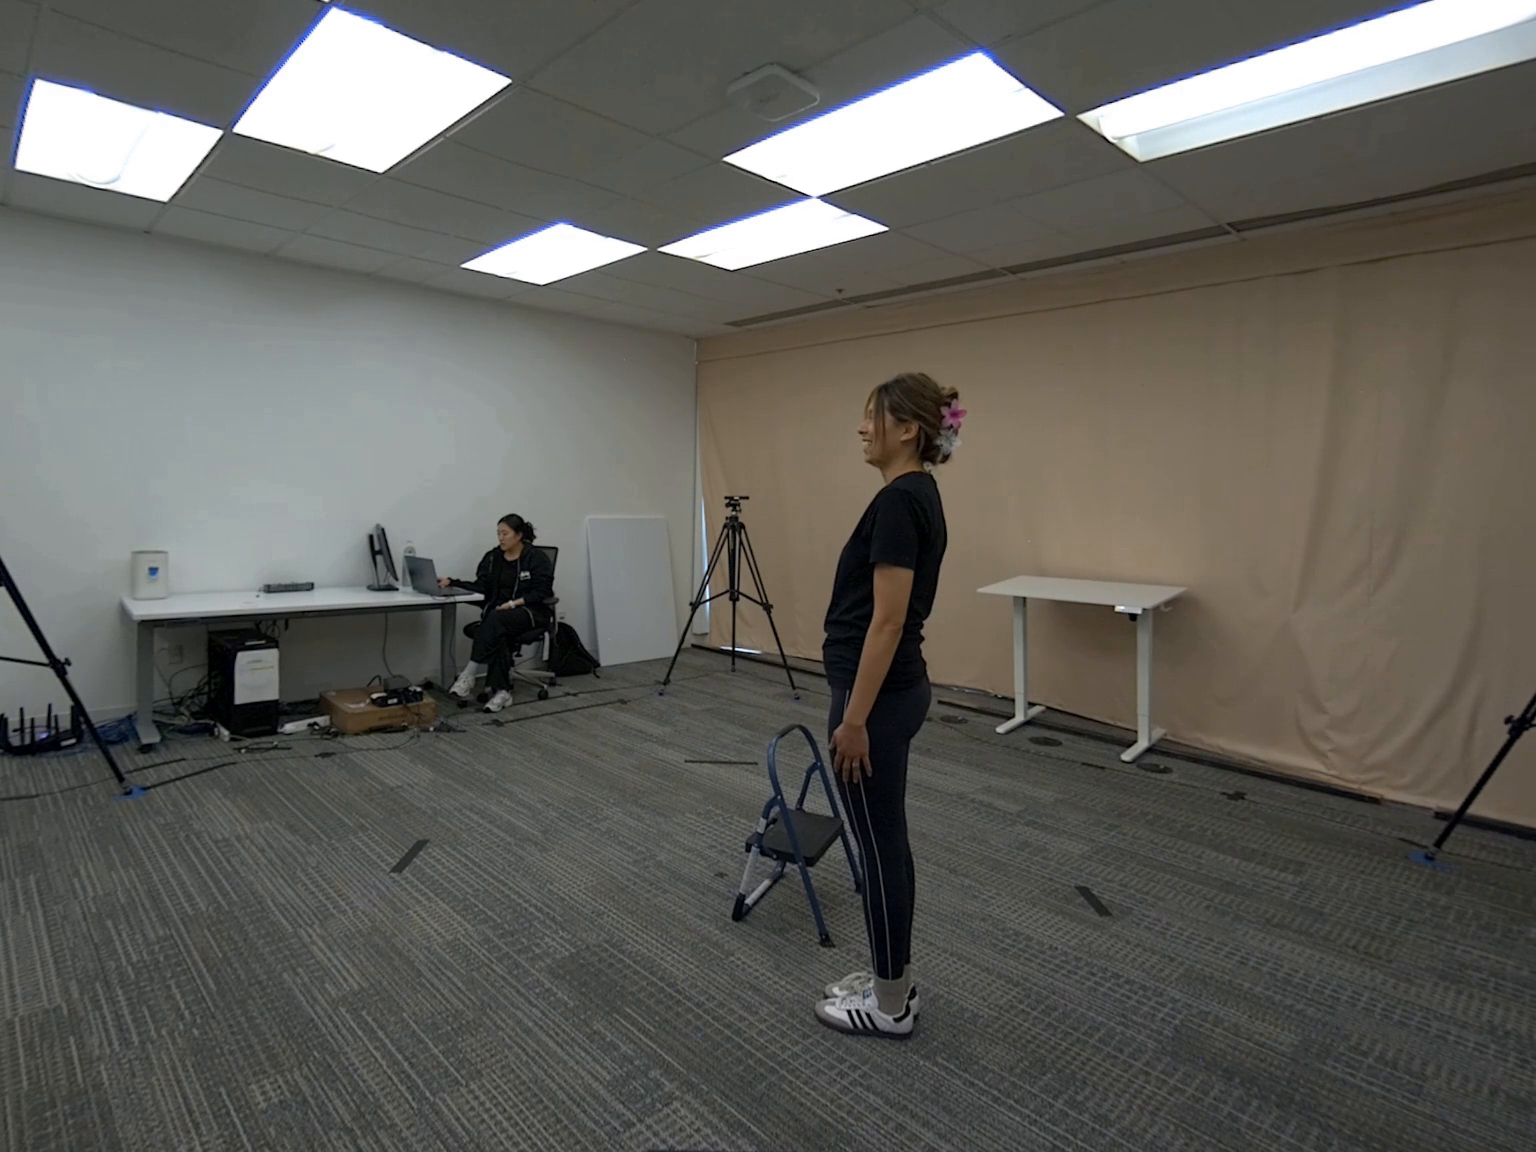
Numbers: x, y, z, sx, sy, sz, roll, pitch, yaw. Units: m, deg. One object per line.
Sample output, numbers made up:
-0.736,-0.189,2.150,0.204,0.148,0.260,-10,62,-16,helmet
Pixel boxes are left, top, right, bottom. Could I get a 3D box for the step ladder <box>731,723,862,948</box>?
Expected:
0.118,0.827,2.861,0.356,0.604,0.424,4,4,23,step ladder
